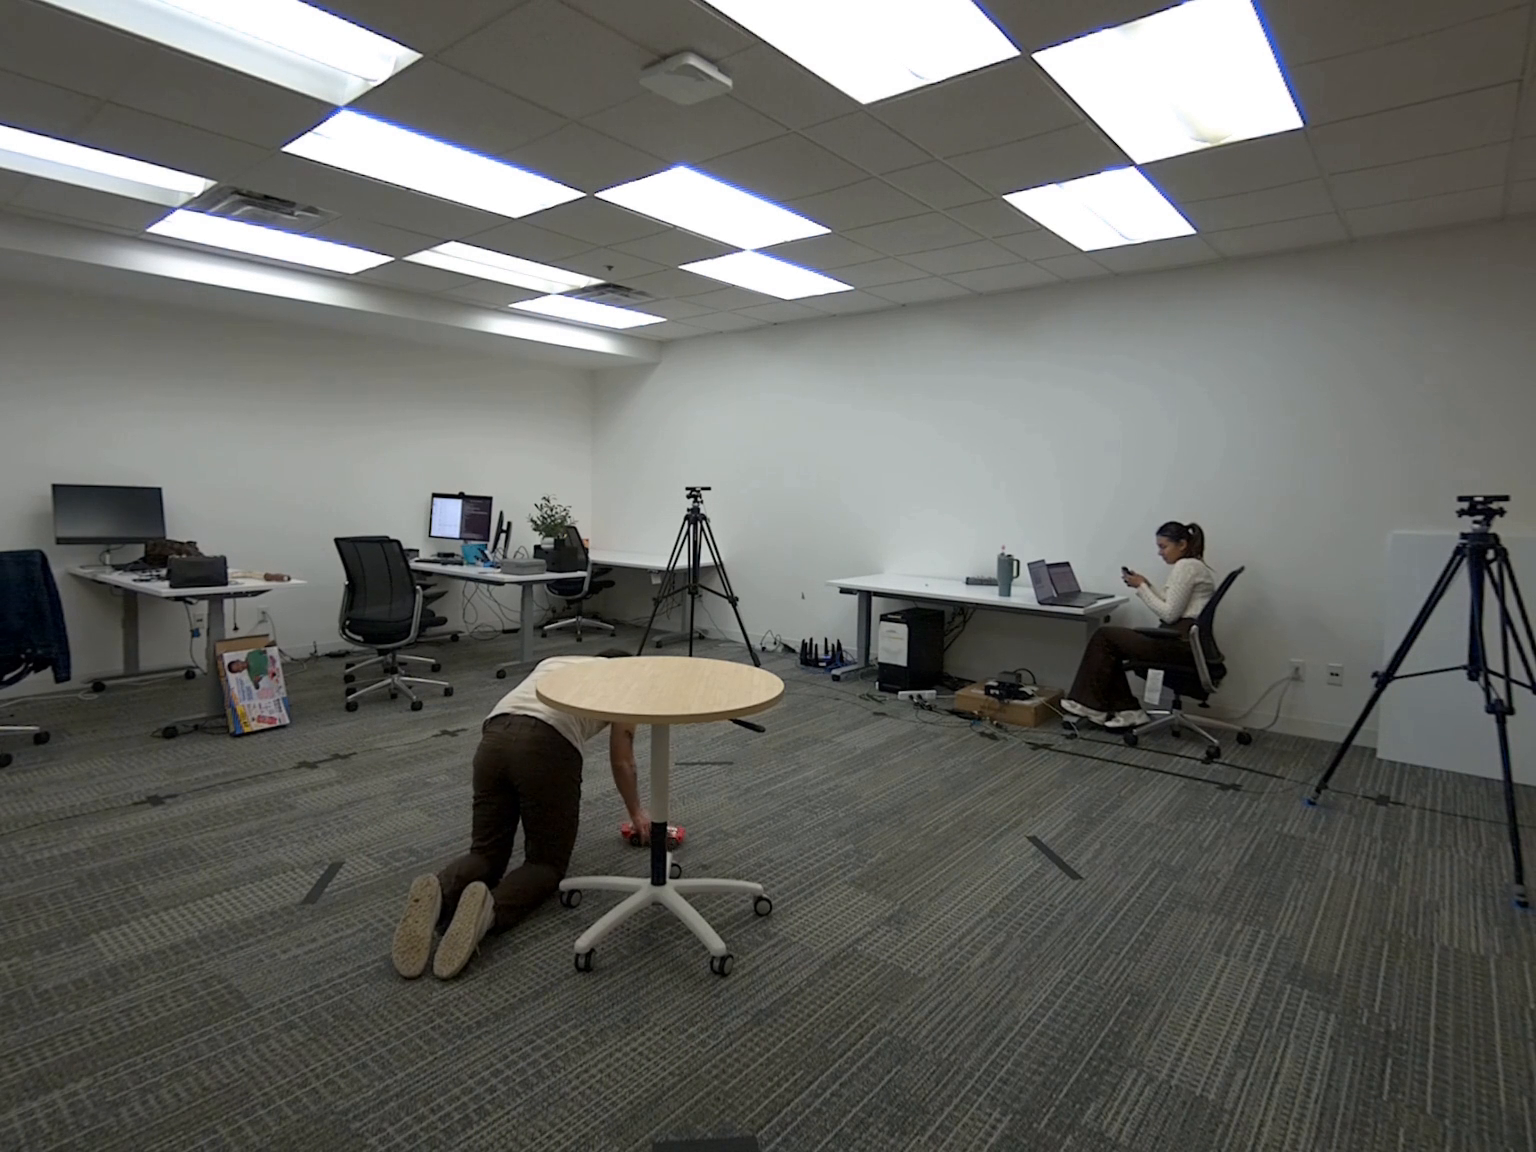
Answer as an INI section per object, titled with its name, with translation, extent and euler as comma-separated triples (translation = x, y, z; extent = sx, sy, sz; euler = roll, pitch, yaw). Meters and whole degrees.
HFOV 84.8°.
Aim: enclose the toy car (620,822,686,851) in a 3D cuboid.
[toy car]
translation = -0.477, 1.010, 3.329
extent = 0.256, 0.083, 0.130
euler = 12, 6, 4
